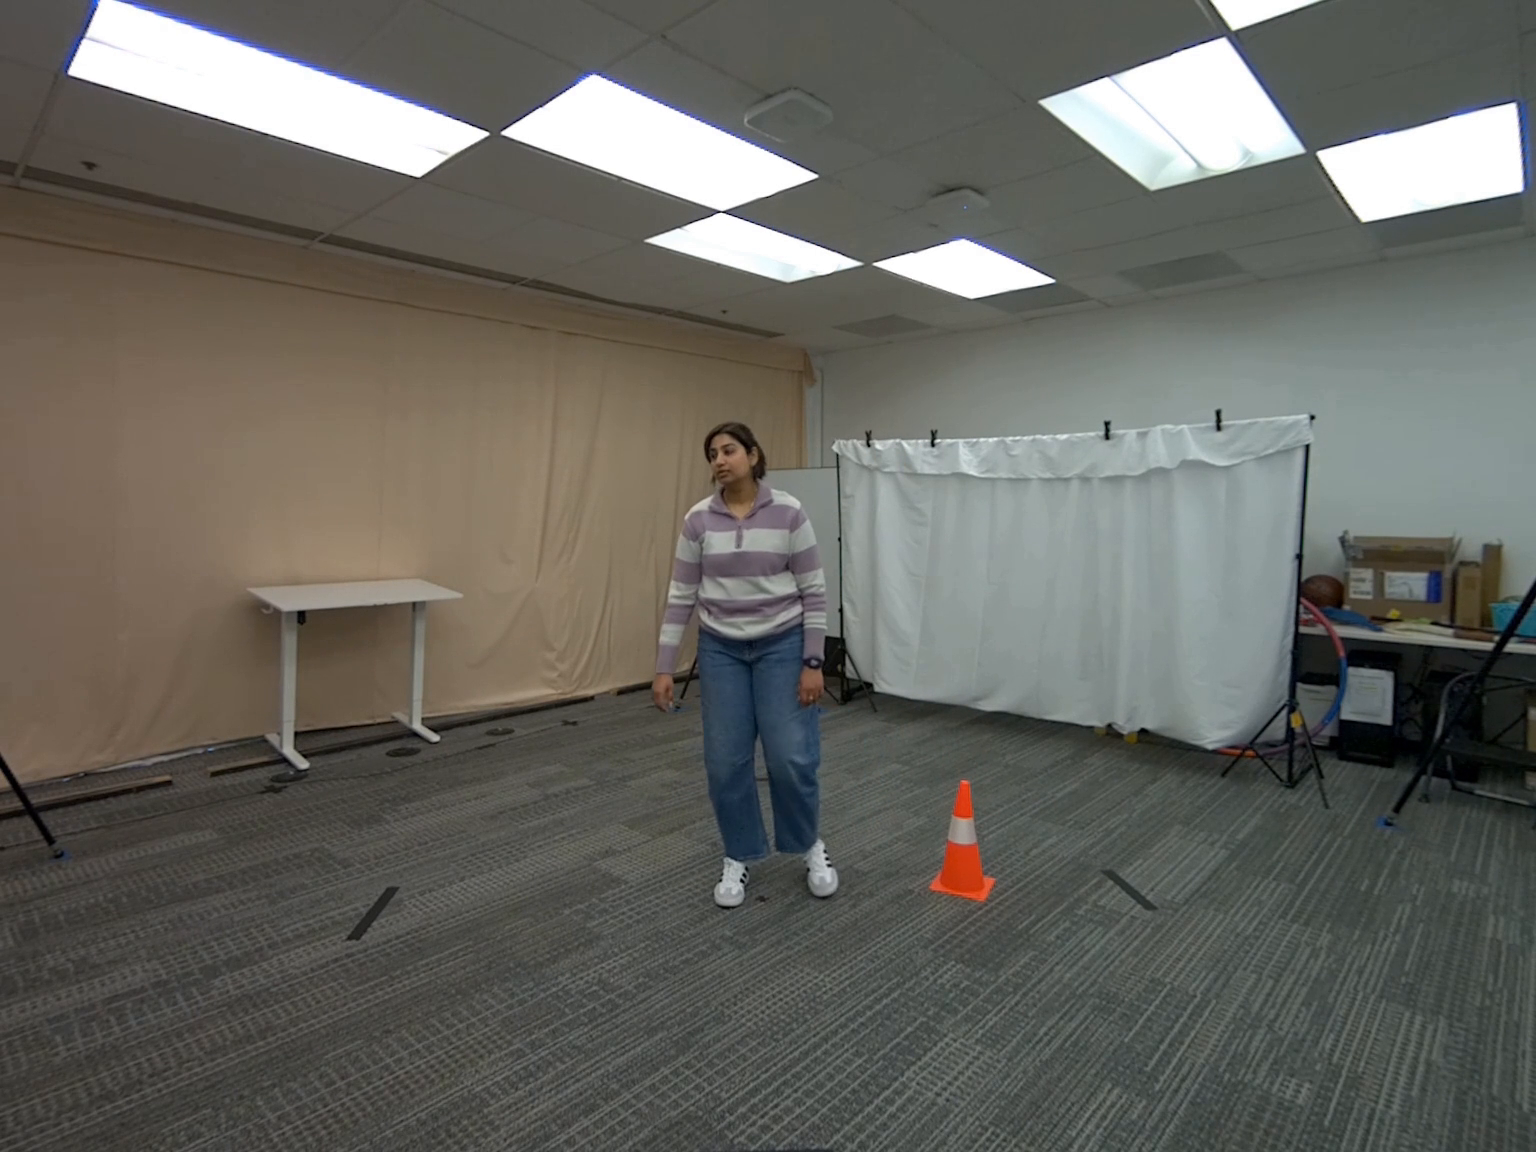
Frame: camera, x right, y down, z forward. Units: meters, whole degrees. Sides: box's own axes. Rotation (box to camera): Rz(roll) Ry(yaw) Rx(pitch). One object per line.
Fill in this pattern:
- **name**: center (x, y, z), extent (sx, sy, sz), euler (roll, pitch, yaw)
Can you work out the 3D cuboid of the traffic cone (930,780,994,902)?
- **traffic cone**: center (0.718, 0.951, 3.087), extent (0.211, 0.383, 0.198), euler (1, 2, 31)
